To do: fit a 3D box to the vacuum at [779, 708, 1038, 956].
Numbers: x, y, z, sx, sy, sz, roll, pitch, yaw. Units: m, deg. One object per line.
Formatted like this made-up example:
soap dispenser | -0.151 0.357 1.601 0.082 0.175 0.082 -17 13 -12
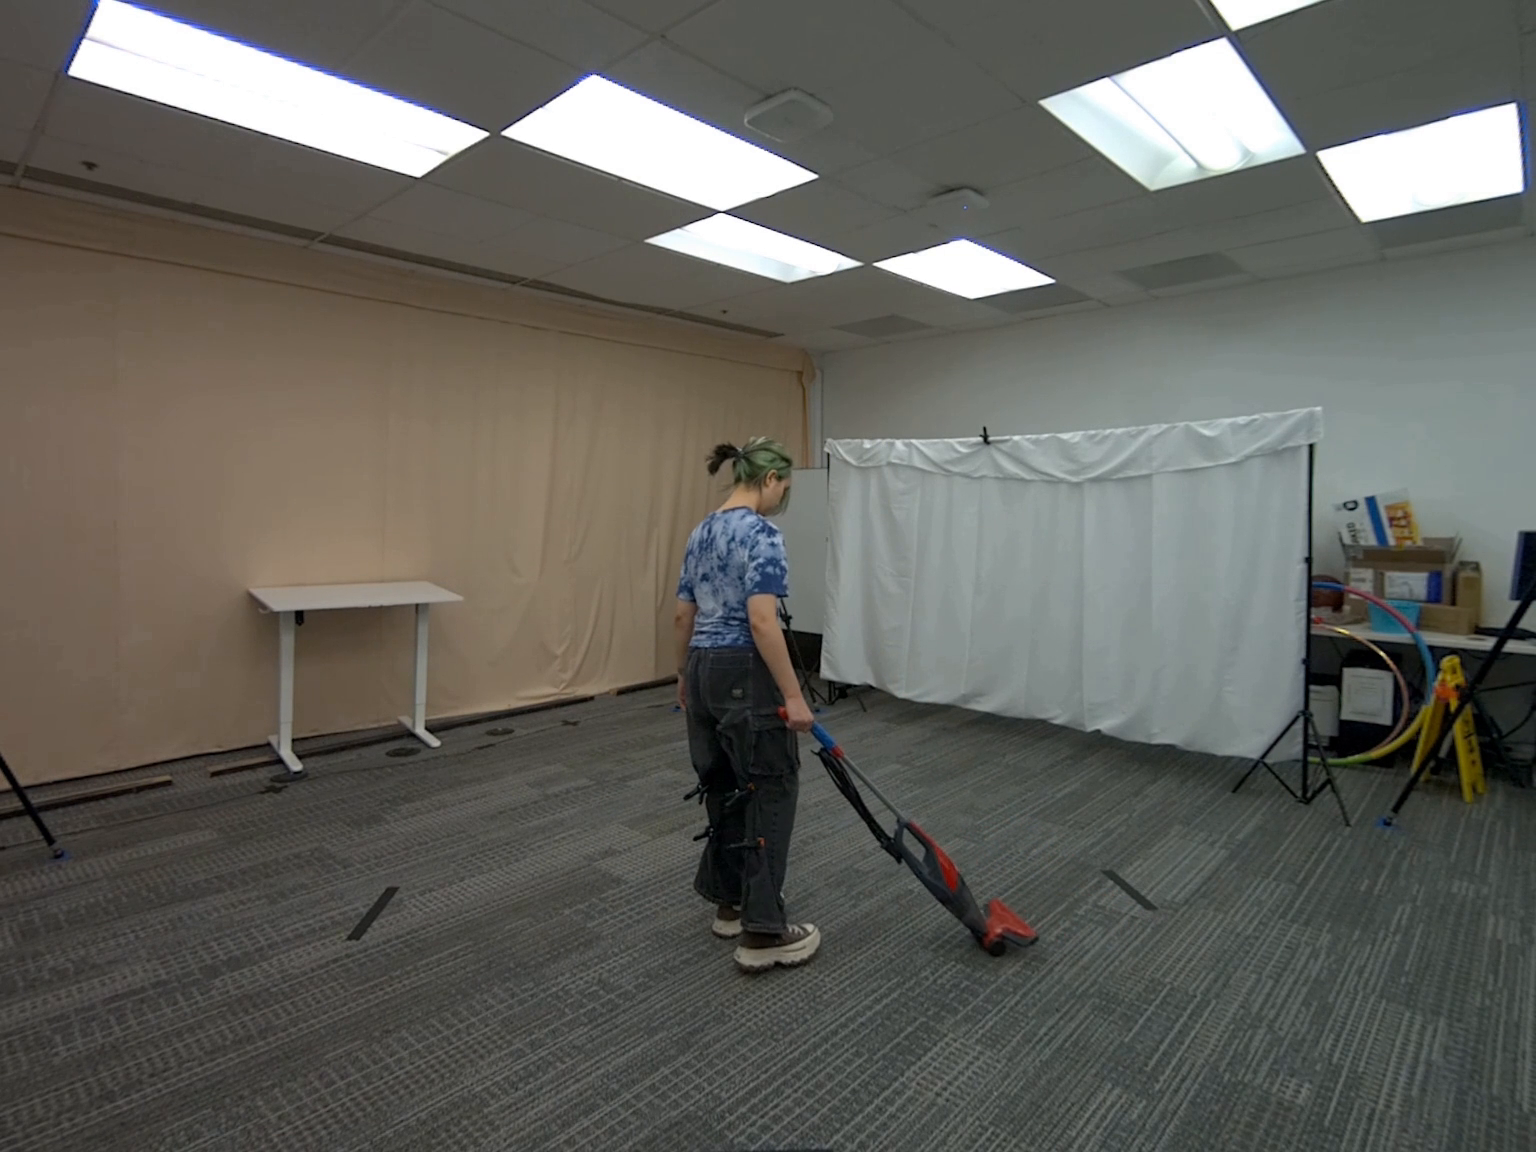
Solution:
vacuum | 0.393 0.782 2.572 1.036 0.144 0.256 44 -8 -11
